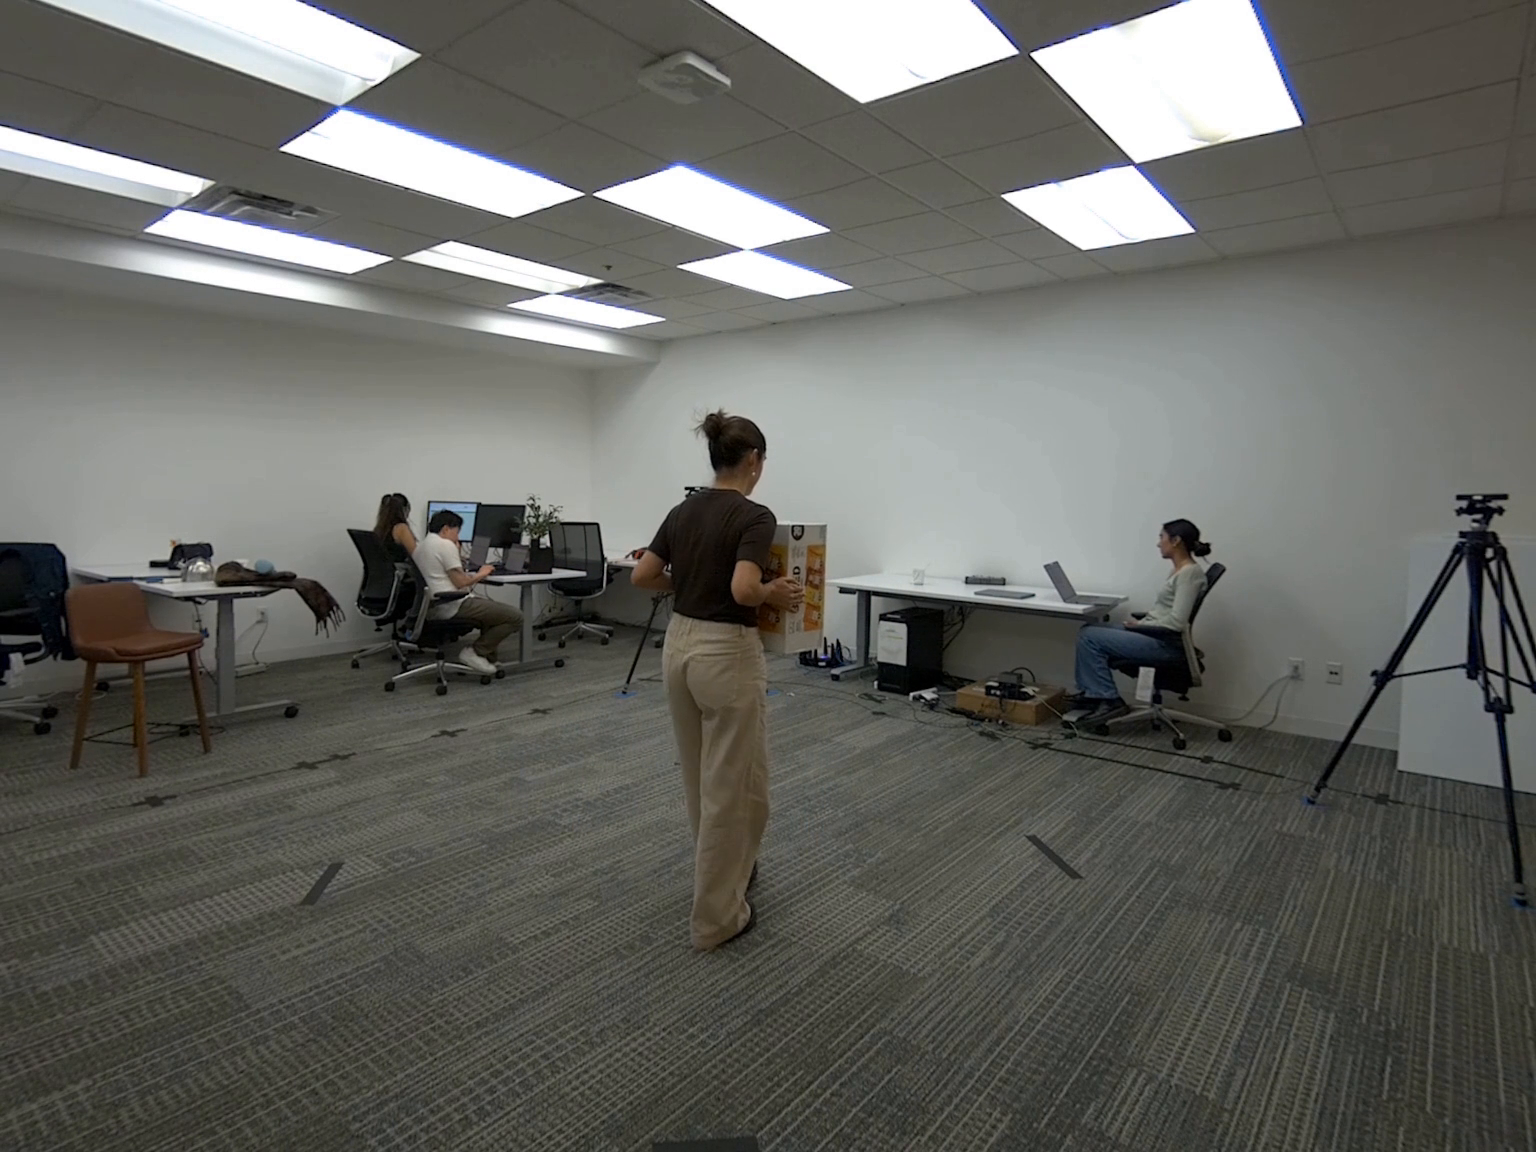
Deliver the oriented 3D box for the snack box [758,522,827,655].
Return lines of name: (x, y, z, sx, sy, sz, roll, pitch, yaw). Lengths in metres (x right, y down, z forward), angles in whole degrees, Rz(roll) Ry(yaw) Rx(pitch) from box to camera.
snack box: (-0.018, 0.018, 2.805, 0.352, 0.404, 0.199, 6, 5, 41)
